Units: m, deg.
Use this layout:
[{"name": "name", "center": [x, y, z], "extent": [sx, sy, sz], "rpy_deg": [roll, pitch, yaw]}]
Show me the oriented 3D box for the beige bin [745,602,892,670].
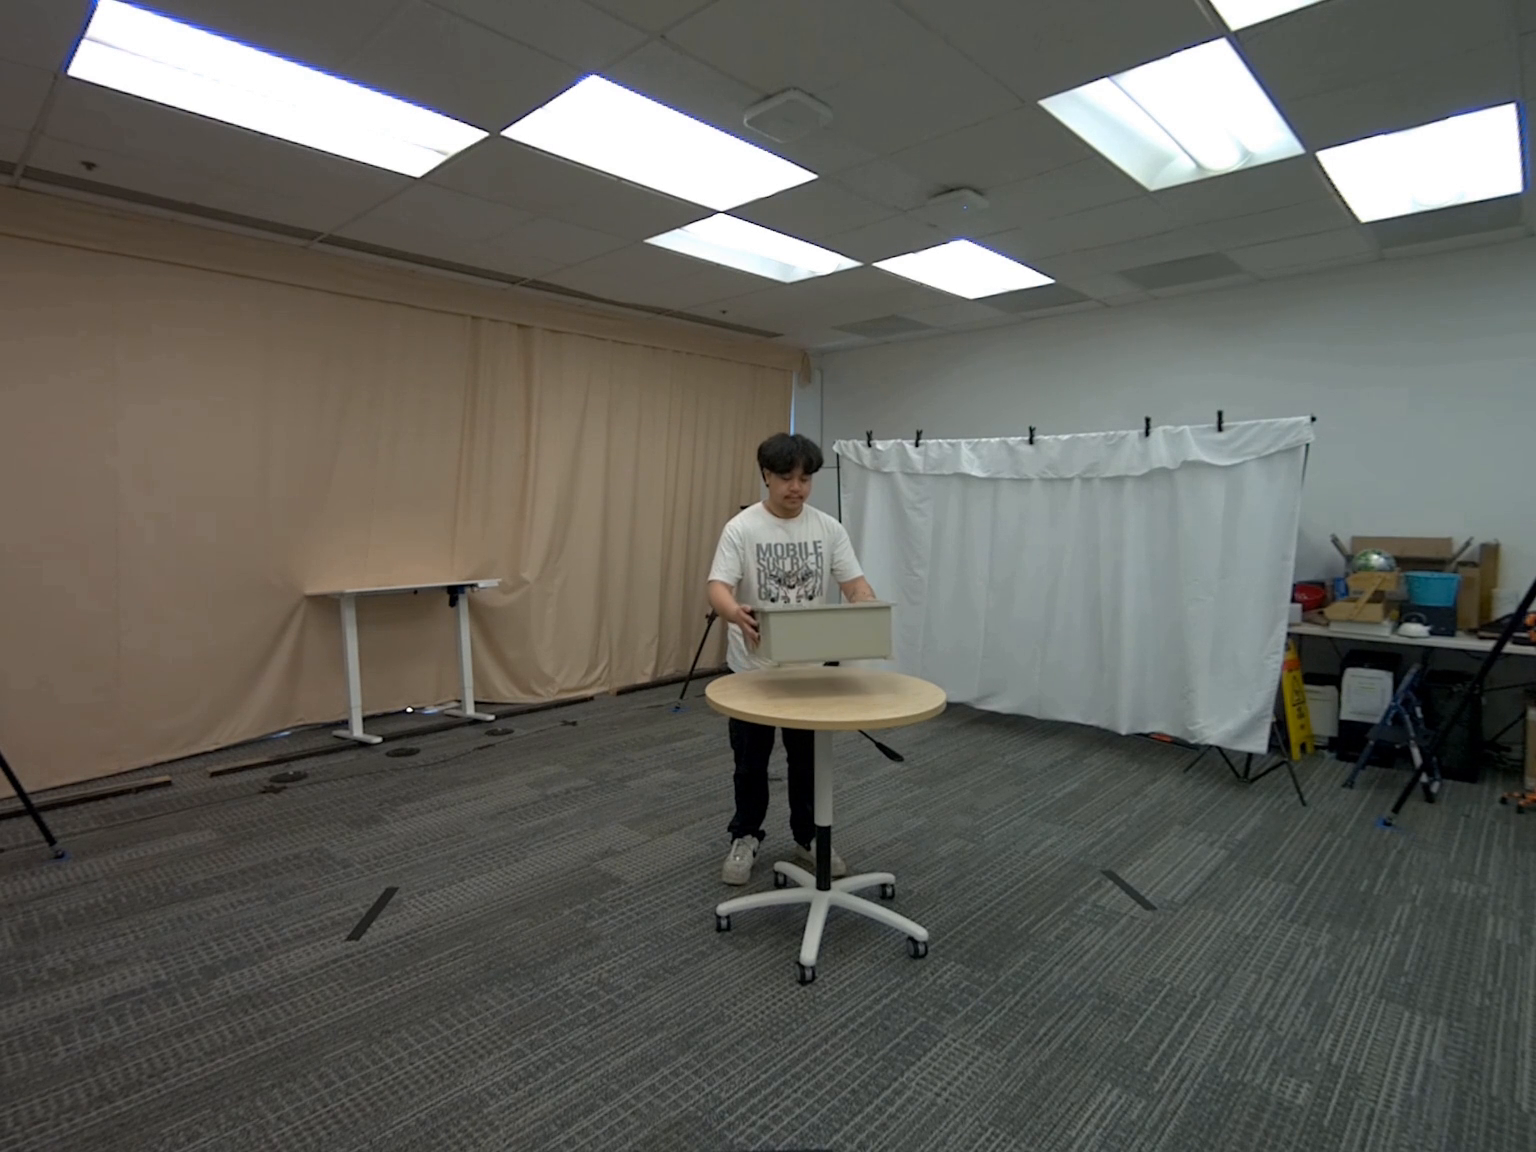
[{"name": "beige bin", "center": [0.164, 0.189, 2.741], "extent": [0.417, 0.189, 0.382], "rpy_deg": [-1, 1, -11]}]
